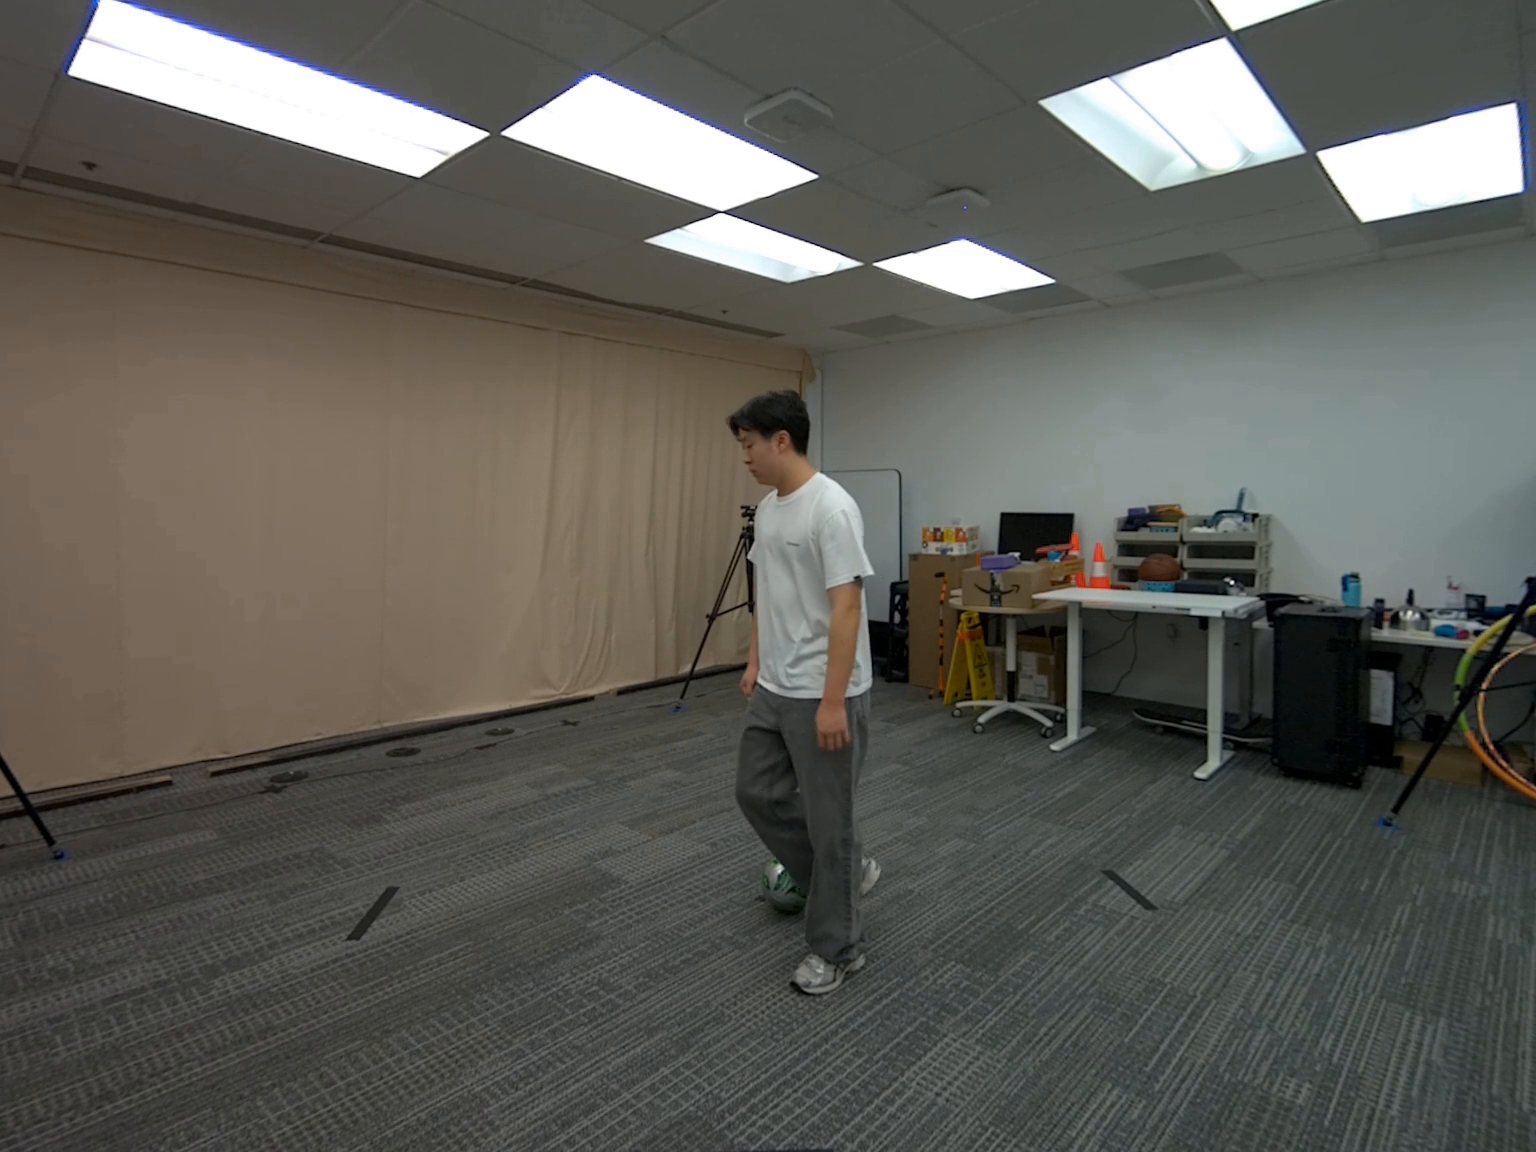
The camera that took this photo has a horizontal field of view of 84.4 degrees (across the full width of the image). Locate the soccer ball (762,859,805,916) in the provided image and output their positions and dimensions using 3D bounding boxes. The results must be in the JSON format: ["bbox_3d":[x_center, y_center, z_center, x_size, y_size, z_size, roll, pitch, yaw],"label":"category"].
[{"bbox_3d":[0.078,1.057,2.905,0.187,0.187,0.188,0,4,-2],"label":"soccer ball"}]
